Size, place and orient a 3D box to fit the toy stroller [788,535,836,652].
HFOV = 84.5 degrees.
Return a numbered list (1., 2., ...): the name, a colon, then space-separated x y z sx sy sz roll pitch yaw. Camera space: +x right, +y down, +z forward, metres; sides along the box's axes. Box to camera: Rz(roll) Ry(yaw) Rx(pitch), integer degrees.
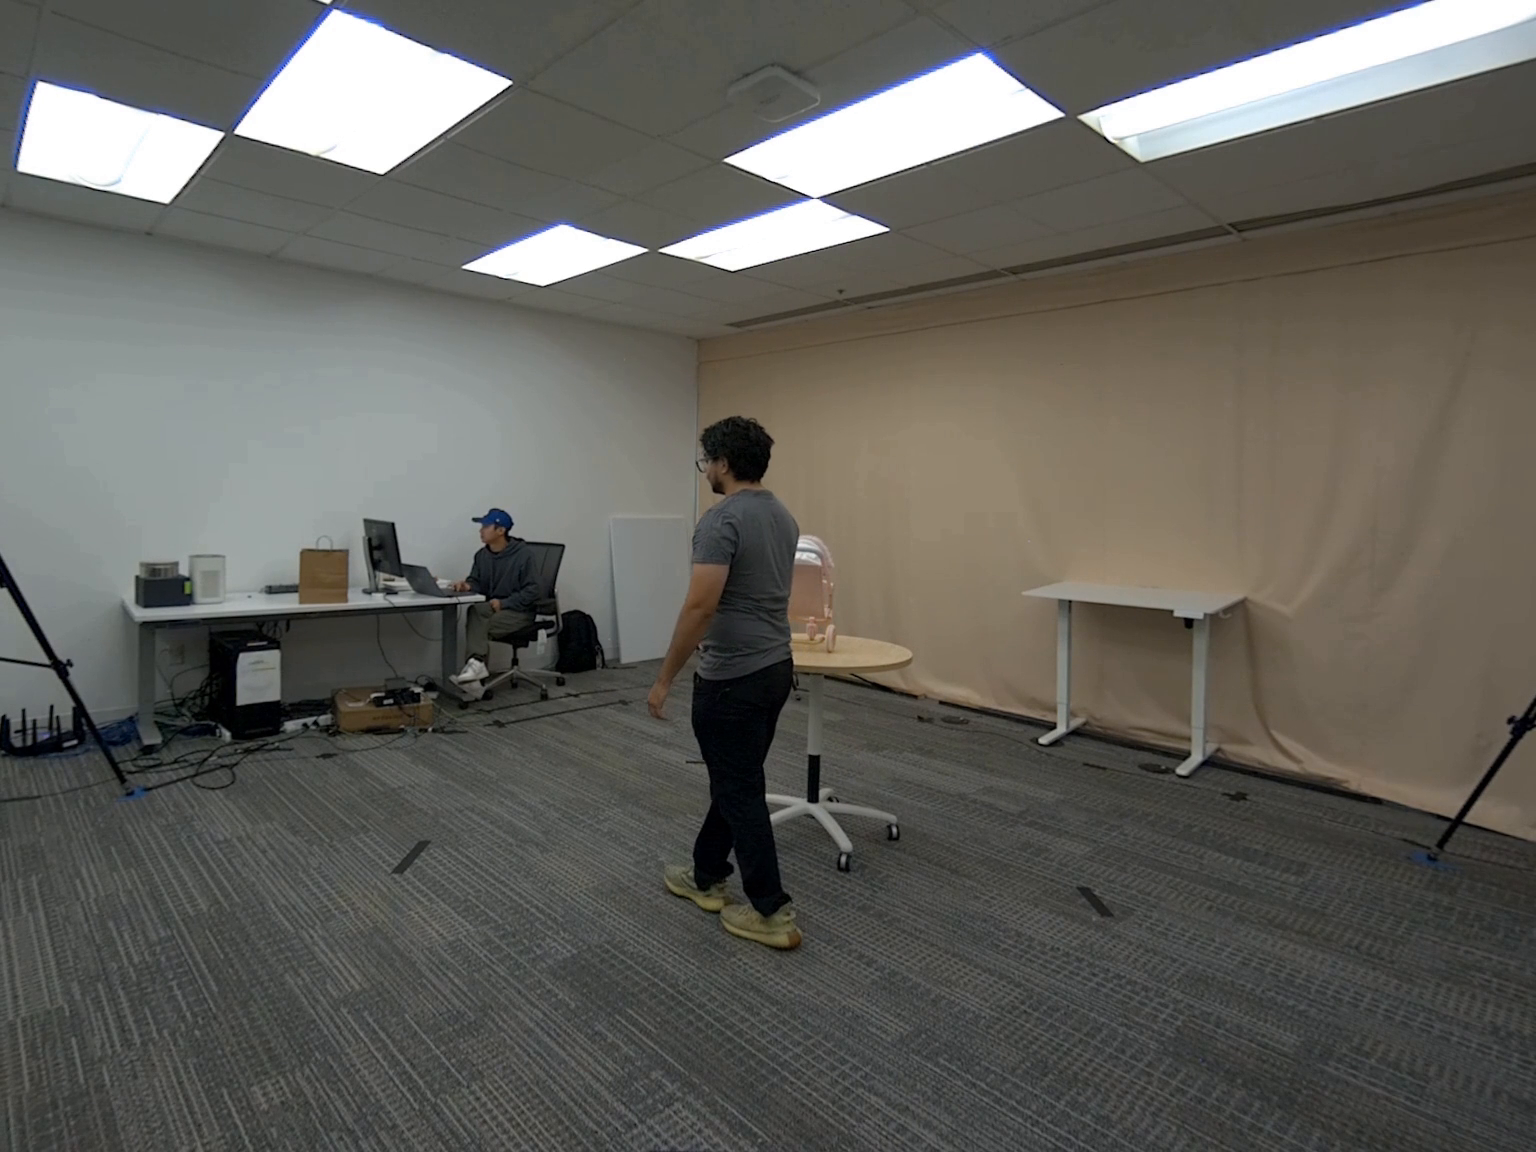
1. toy stroller: 0.156 0.074 3.490 0.286 0.528 0.341 3 19 18
